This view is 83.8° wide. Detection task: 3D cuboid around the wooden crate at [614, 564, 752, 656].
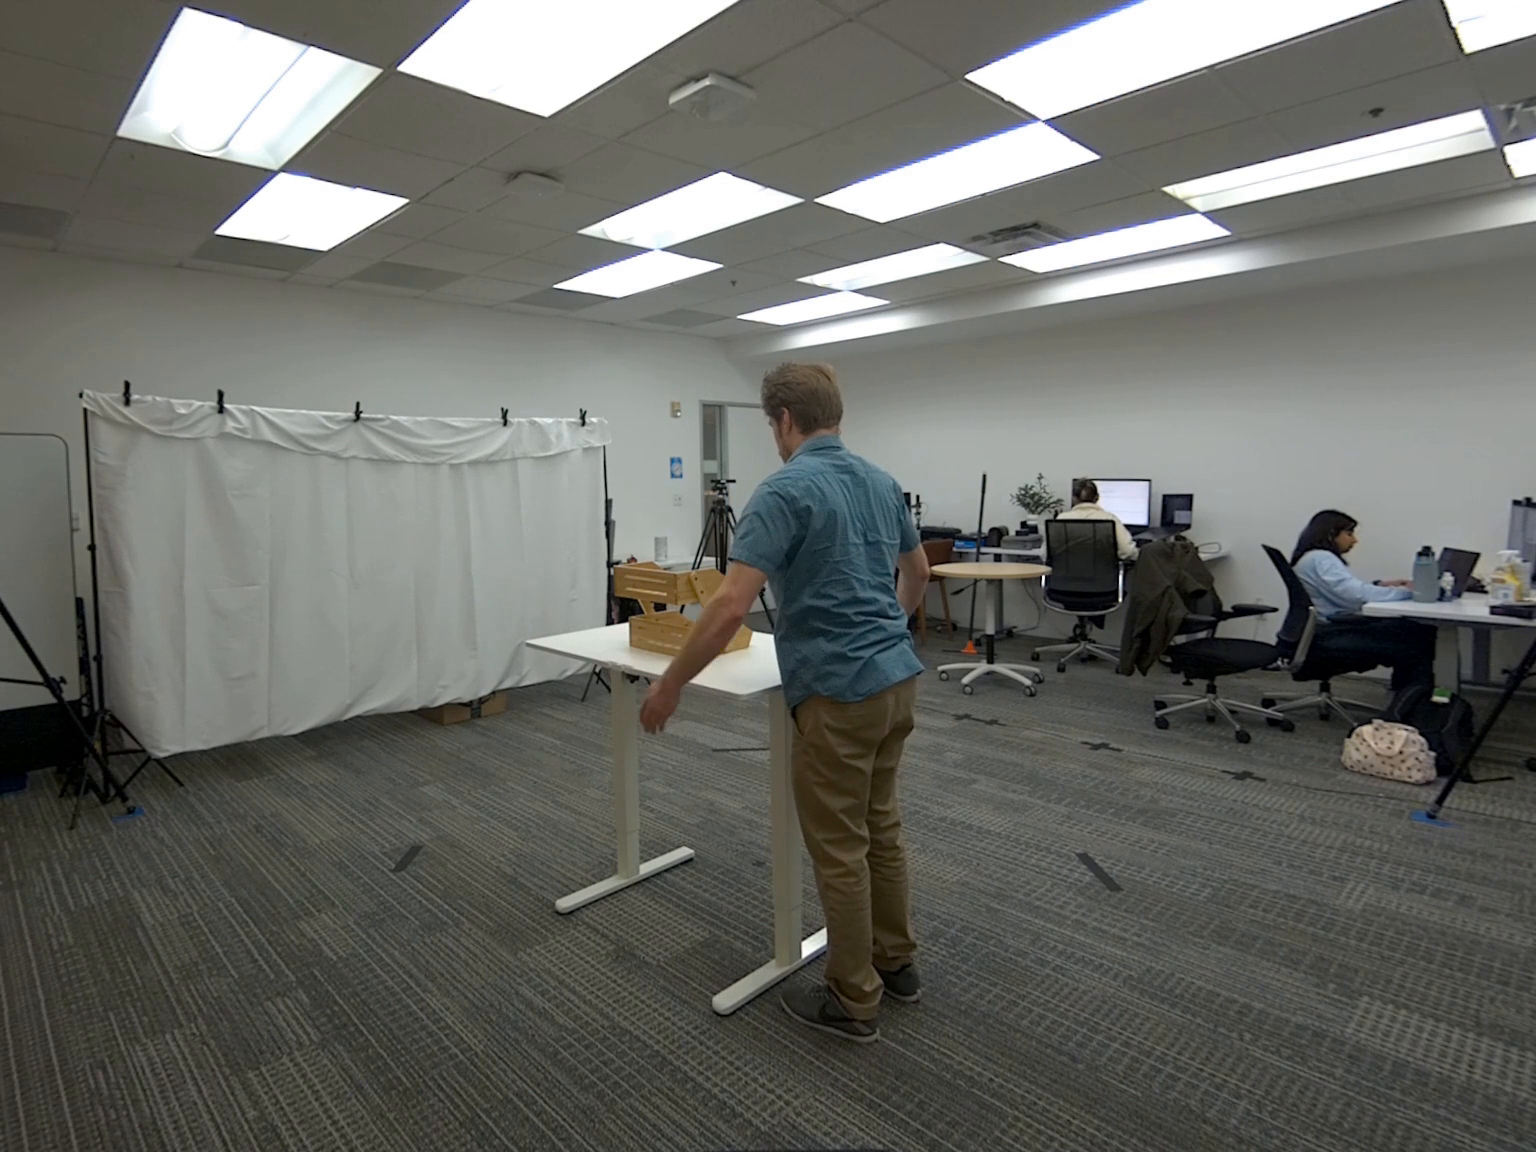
[{"bbox_3d":[-0.259,0.090,2.634,0.334,0.272,0.294,5,9,44],"label":"wooden crate"}]
